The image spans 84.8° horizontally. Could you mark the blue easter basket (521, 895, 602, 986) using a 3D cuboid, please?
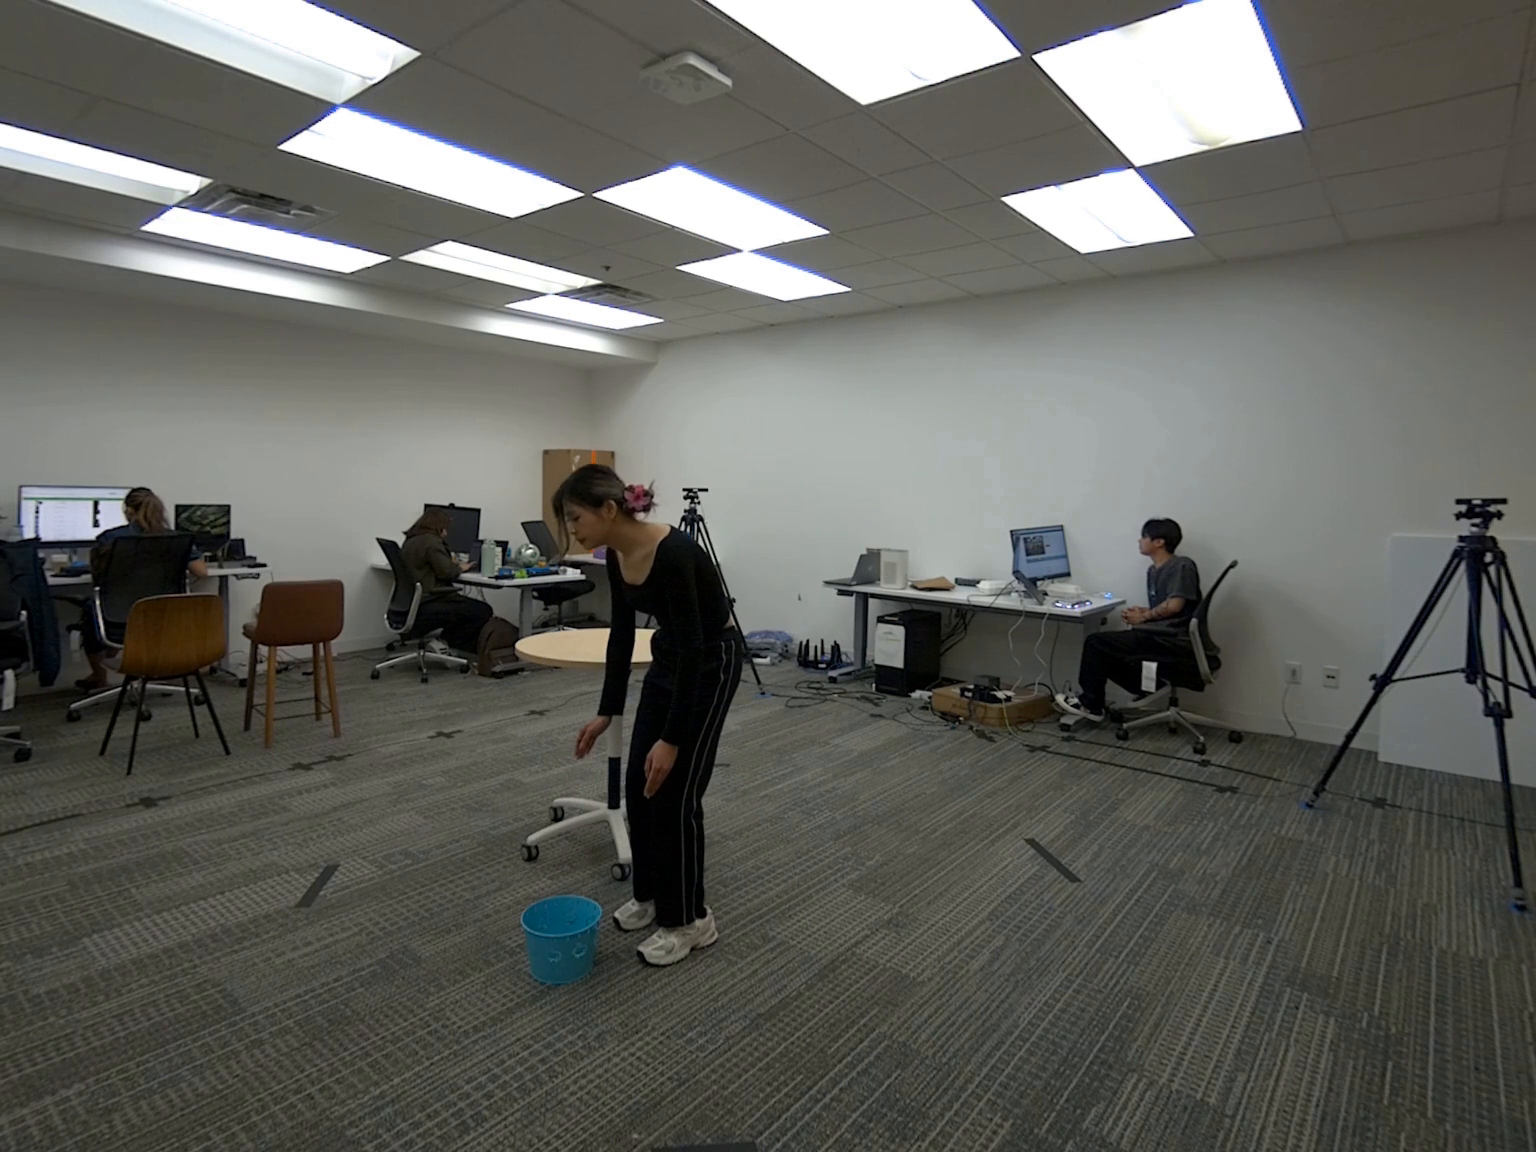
[{"bbox_3d":[-0.597,1.053,2.461,0.243,0.155,0.245,0,5,-2],"label":"blue easter basket"}]
